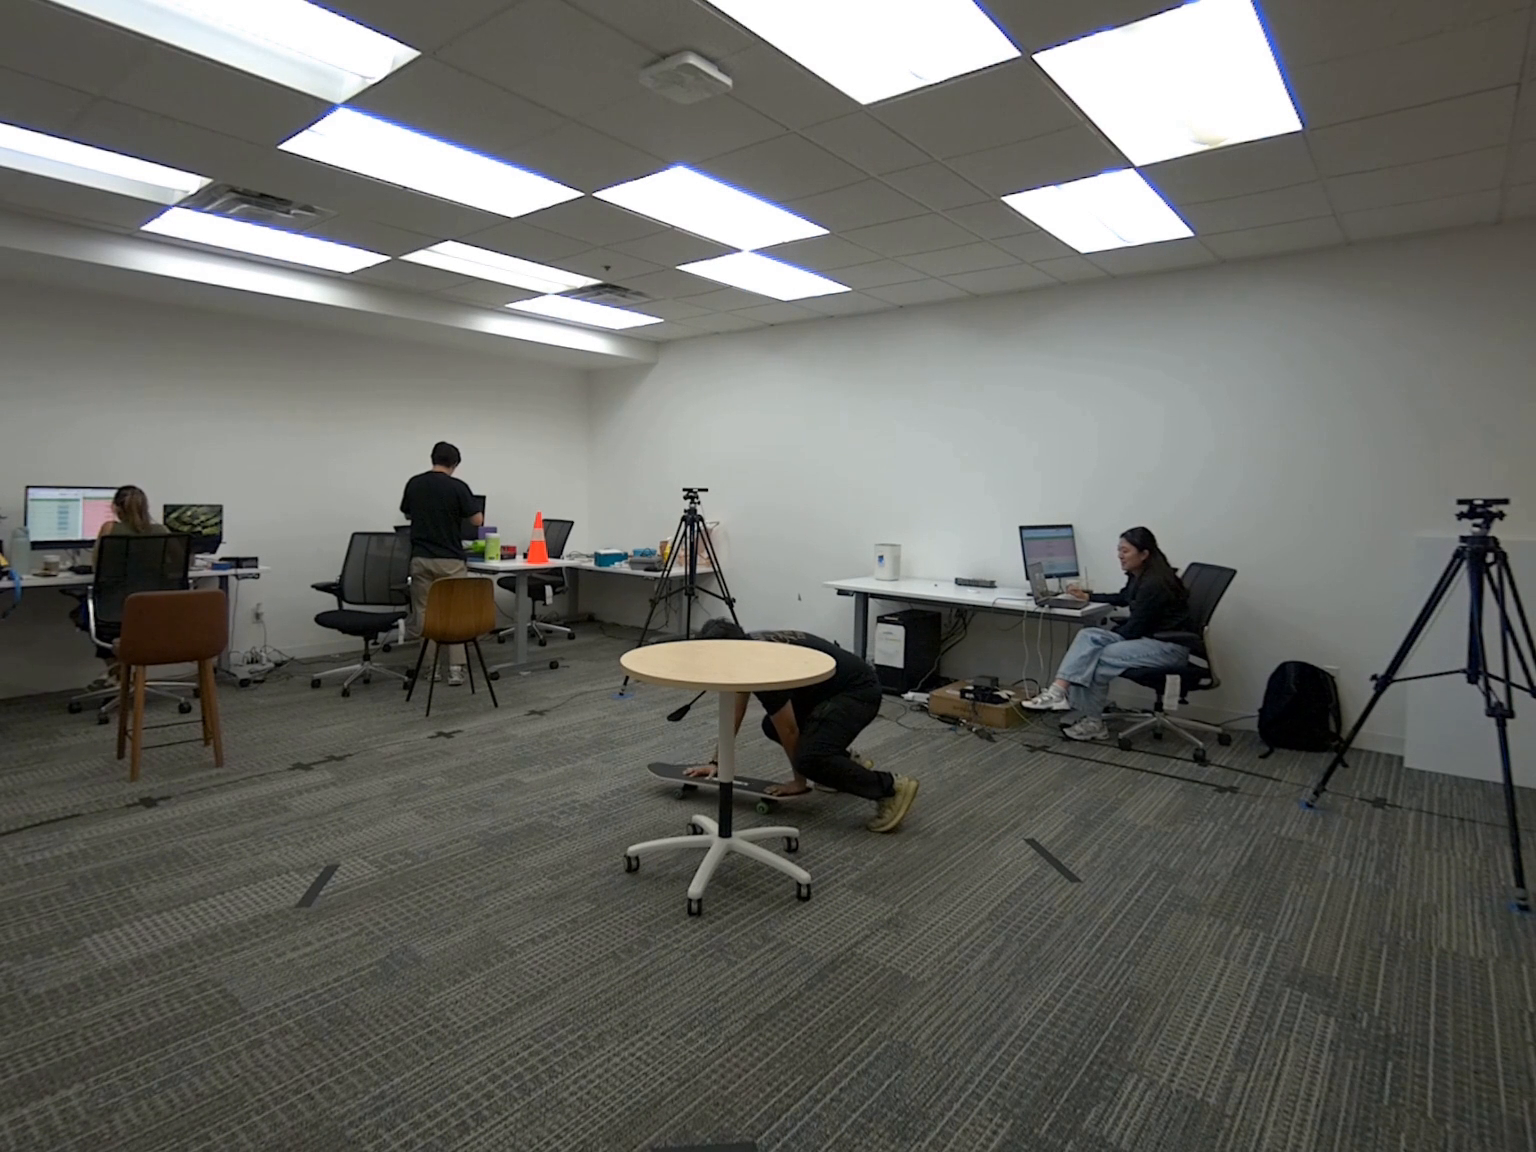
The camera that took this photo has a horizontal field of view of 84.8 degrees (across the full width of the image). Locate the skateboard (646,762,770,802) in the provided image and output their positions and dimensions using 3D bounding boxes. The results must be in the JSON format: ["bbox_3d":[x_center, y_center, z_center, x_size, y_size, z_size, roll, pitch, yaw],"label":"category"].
[{"bbox_3d":[-0.195,0.942,3.801,0.804,0.110,0.189,4,3,22],"label":"skateboard"}]
